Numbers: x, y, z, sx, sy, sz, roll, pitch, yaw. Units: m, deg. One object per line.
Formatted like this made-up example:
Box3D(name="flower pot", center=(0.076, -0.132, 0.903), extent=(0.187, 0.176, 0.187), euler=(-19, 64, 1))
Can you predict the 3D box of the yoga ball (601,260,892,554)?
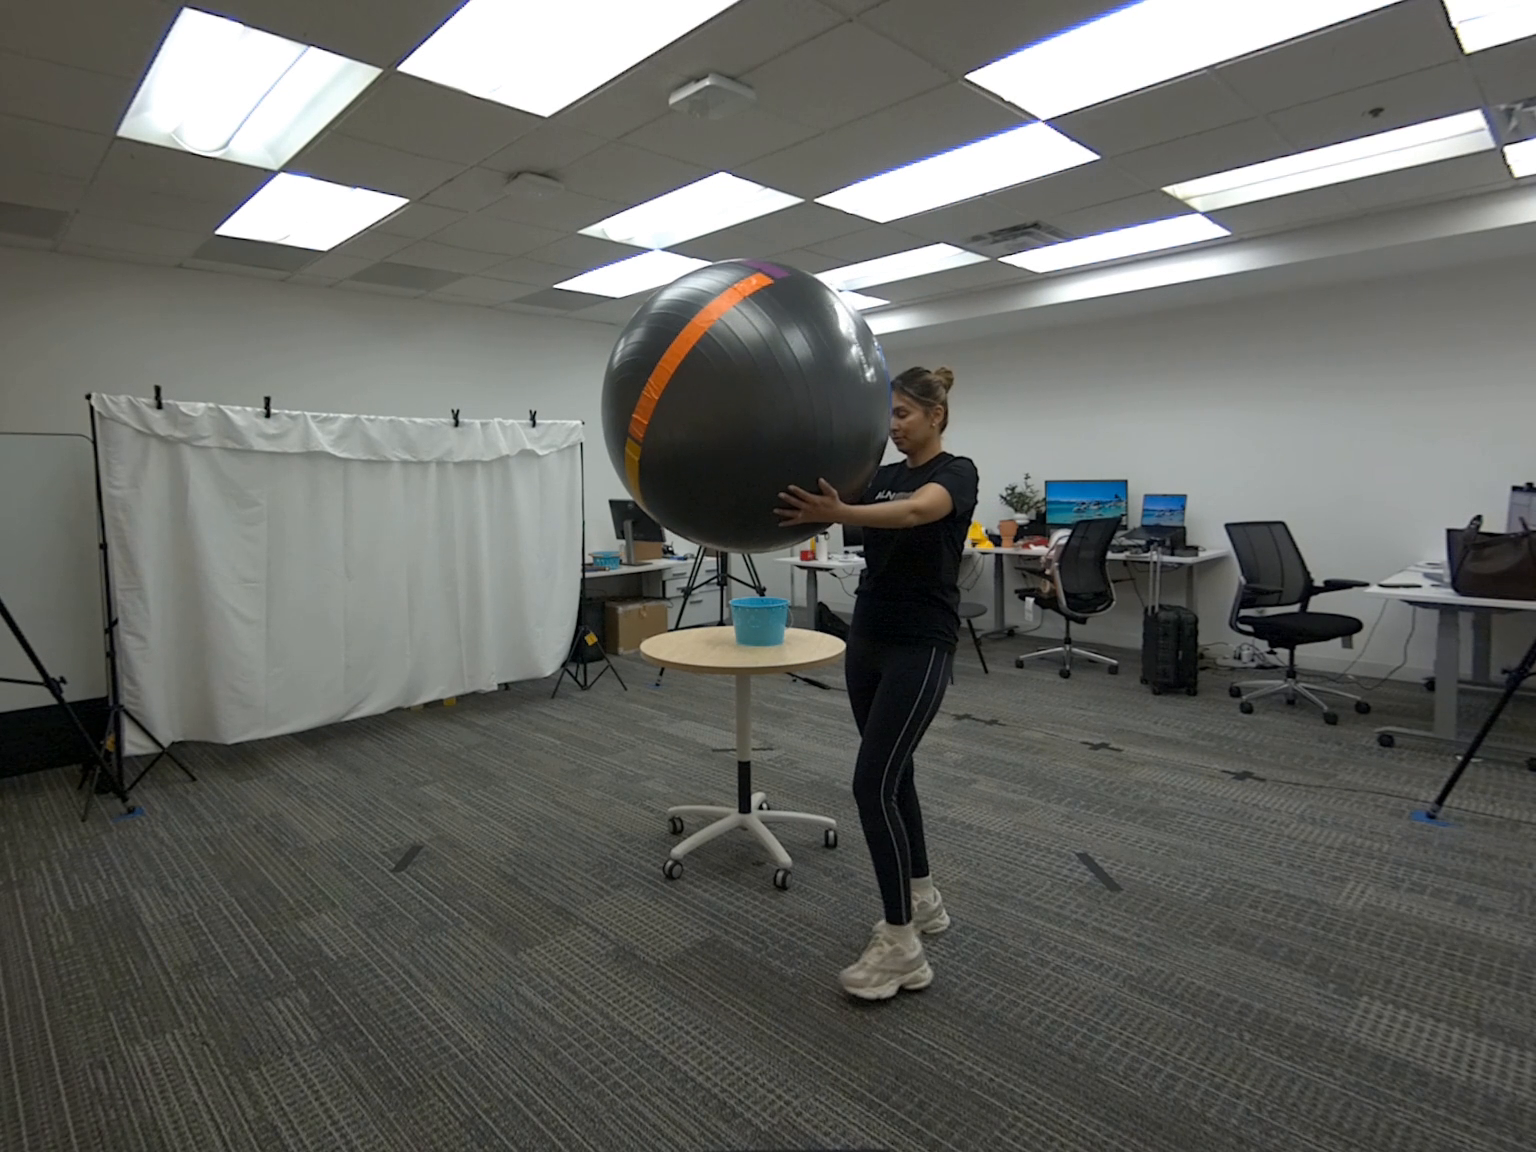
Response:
Box3D(name="yoga ball", center=(-0.061, -0.435, 2.247), extent=(0.757, 0.755, 0.762), euler=(-1, 5, -2))
